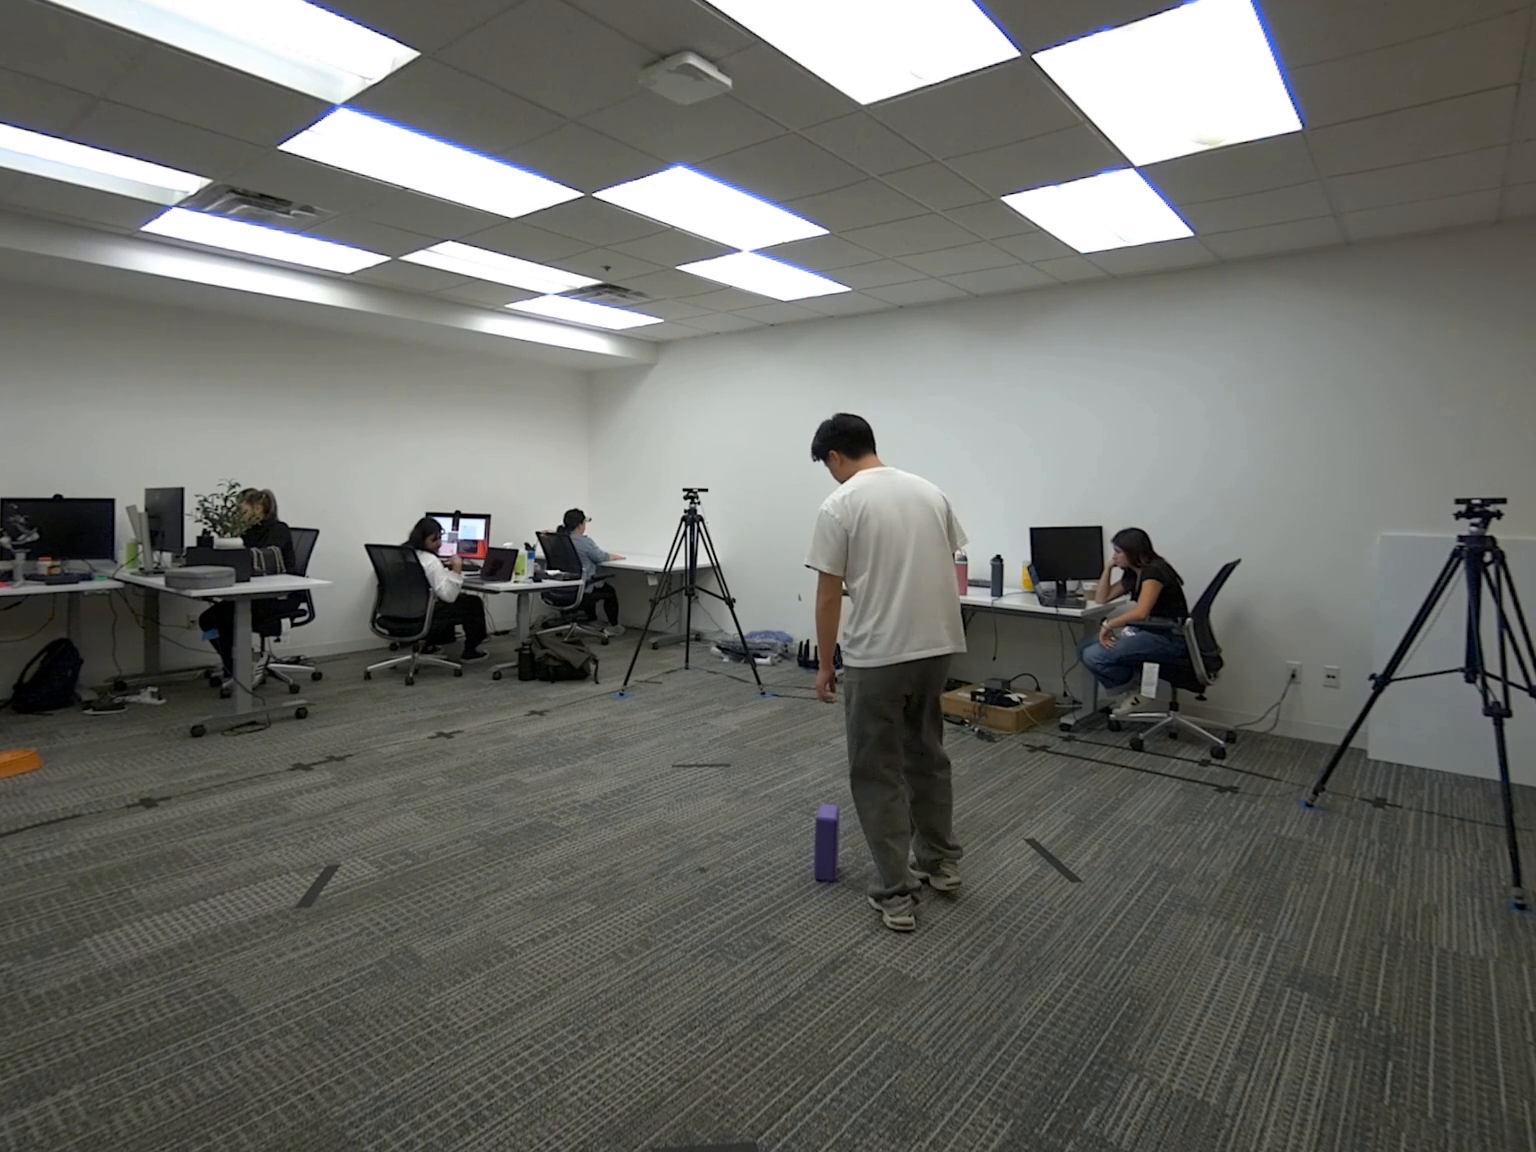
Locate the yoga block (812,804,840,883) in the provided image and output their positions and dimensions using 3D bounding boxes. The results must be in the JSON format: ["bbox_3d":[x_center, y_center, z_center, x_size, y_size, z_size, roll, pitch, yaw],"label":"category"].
[{"bbox_3d":[0.217,0.960,3.098,0.077,0.229,0.148,1,3,8],"label":"yoga block"}]
